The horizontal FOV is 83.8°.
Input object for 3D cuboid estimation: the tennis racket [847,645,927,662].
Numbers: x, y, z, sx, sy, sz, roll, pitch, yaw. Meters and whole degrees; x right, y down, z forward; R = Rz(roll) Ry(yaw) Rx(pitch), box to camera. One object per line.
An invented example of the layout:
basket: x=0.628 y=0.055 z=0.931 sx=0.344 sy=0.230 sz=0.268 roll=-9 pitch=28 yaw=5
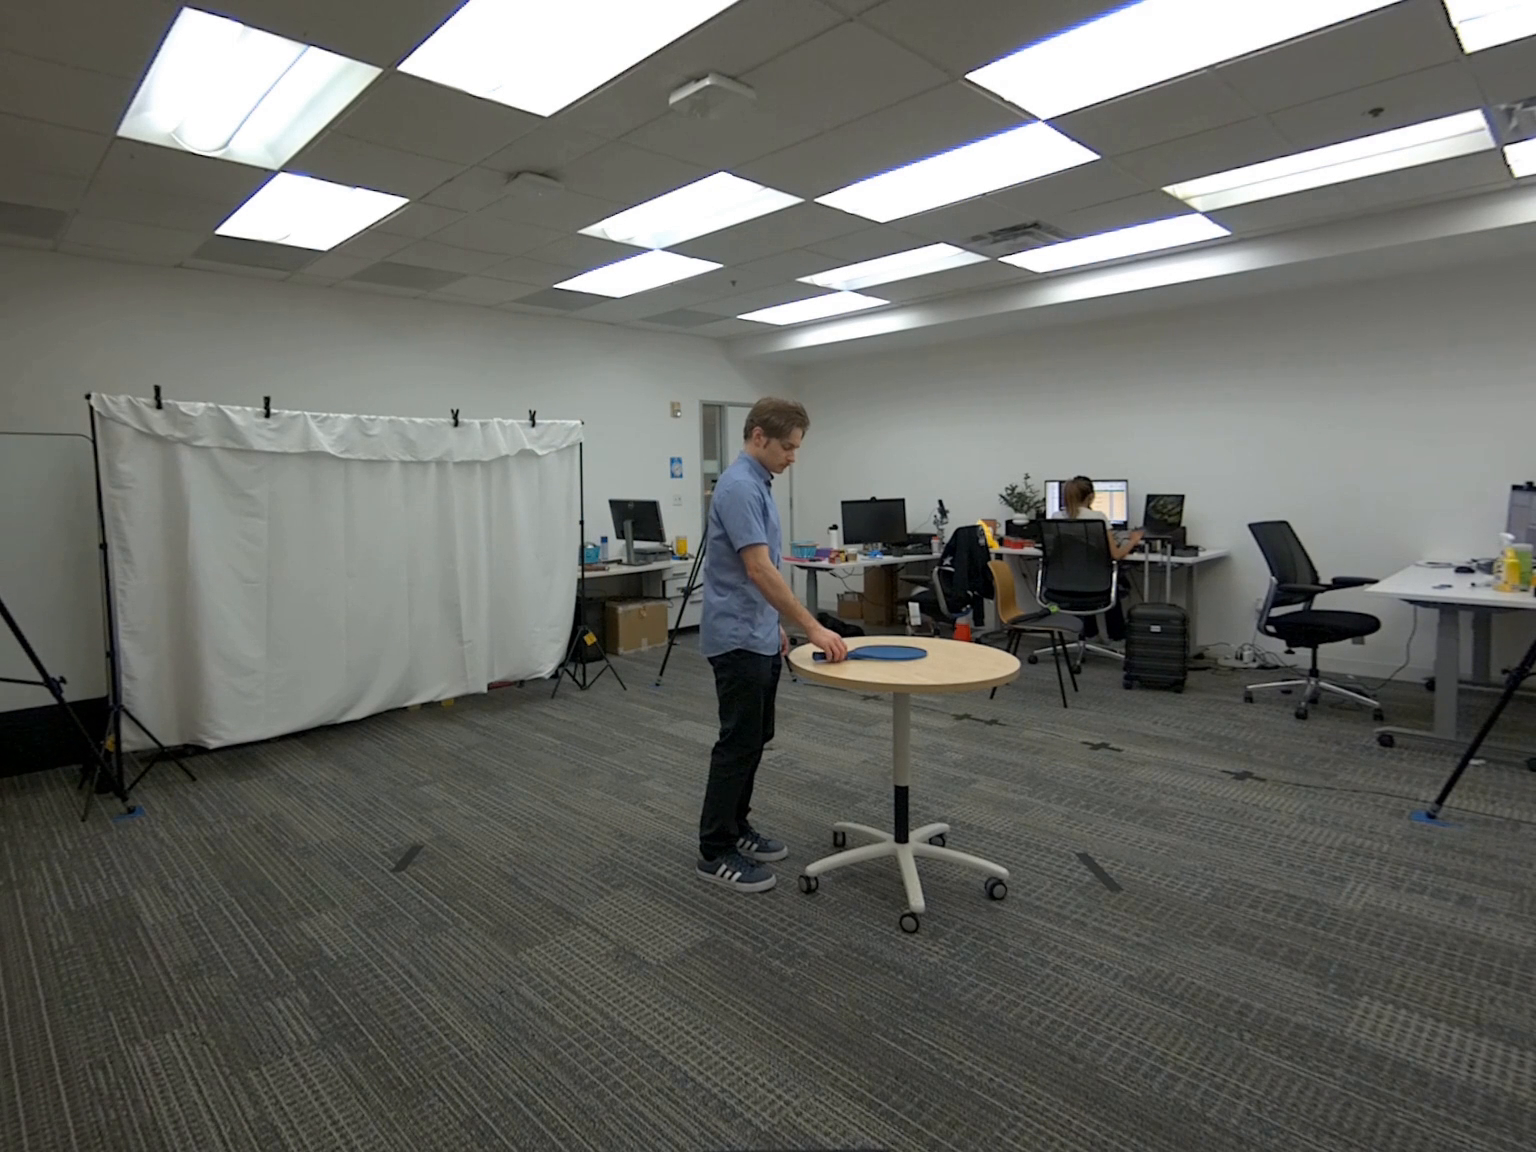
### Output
tennis racket: x=0.350 y=0.261 z=2.932 sx=0.425 sy=0.031 sz=0.219 roll=-1 pitch=7 yaw=-20
